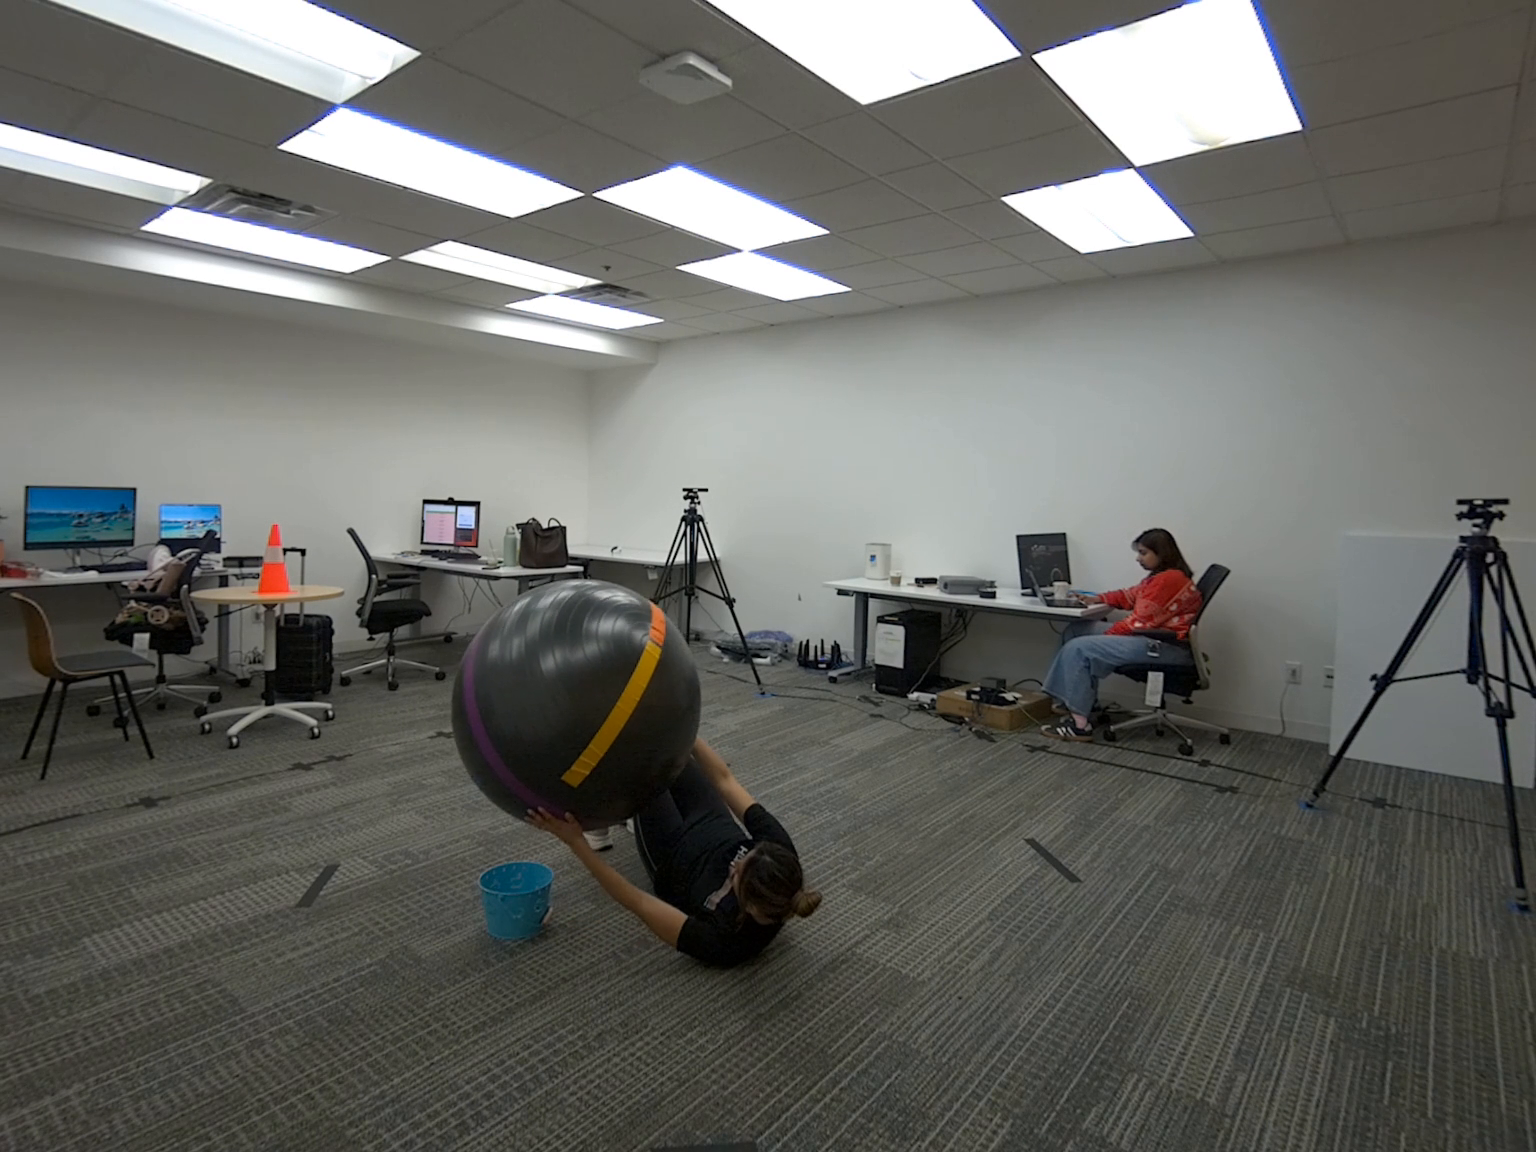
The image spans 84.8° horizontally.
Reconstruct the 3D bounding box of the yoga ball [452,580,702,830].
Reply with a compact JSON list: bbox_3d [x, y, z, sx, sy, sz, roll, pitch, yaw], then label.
[{"bbox_3d":[-0.584,0.392,2.621,0.757,0.756,0.761,-3,3,-2],"label":"yoga ball"}]
